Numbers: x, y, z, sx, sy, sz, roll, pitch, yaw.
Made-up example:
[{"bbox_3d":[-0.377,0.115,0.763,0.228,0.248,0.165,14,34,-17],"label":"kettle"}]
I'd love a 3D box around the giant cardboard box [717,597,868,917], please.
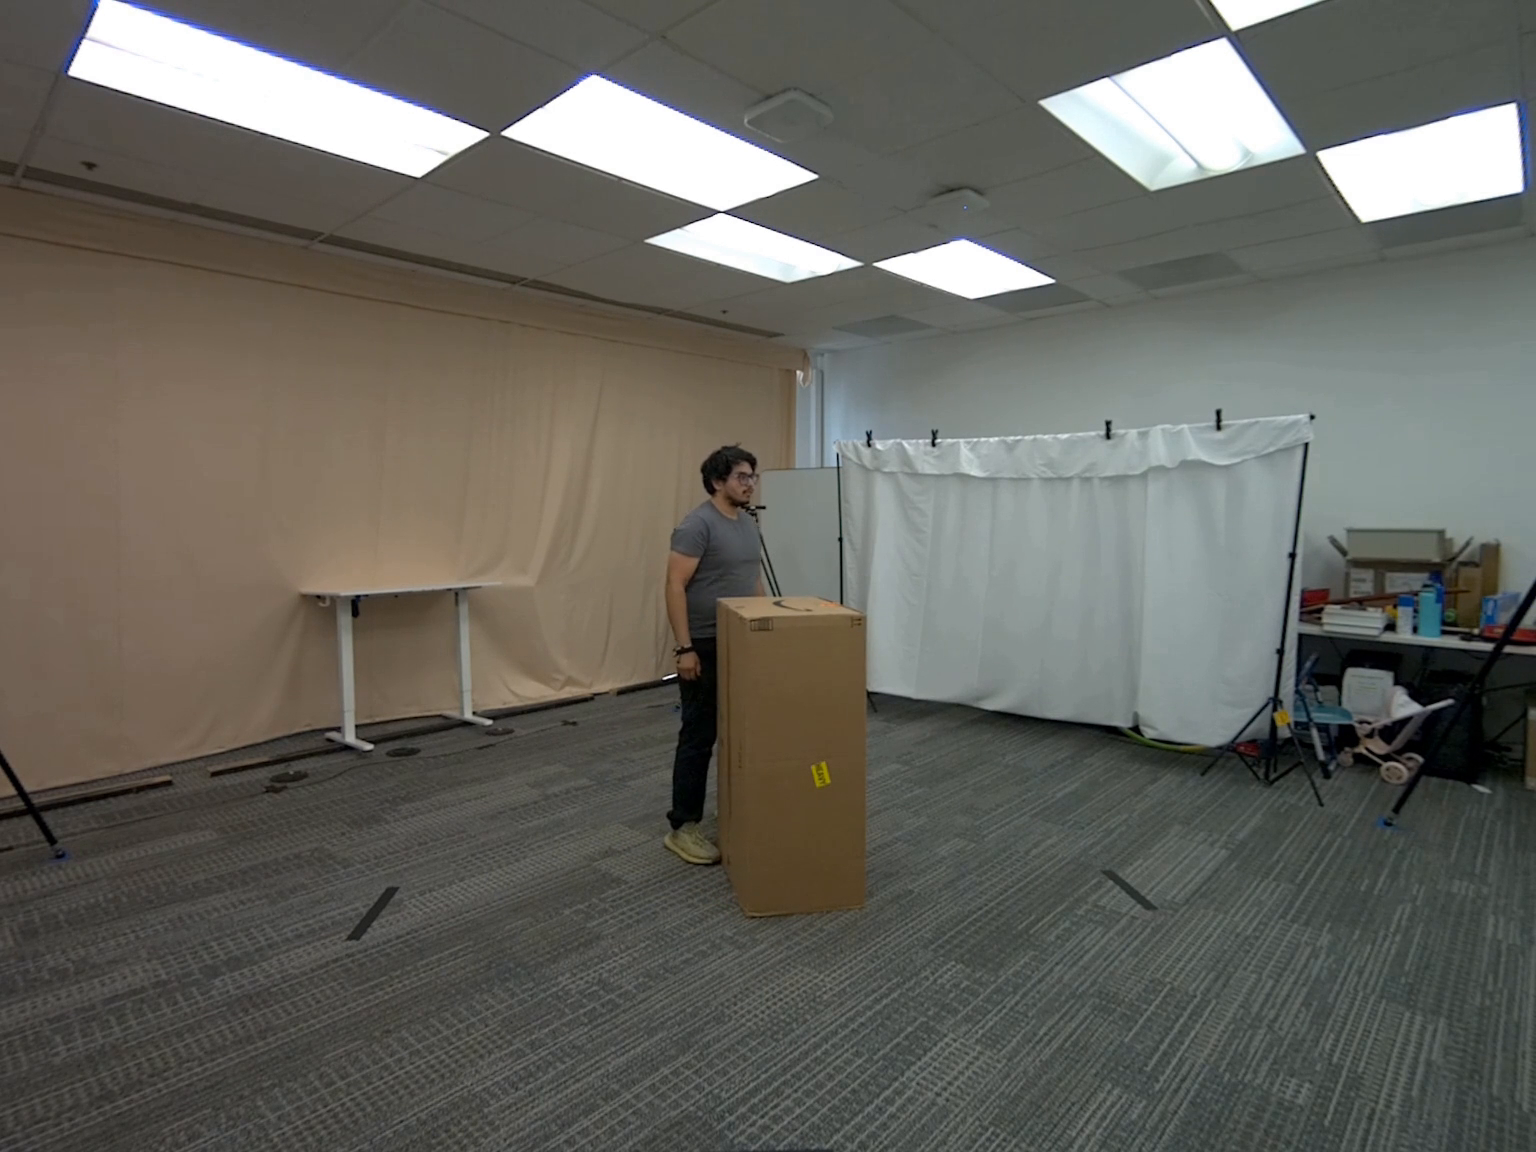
[{"bbox_3d":[0.075,0.621,3.129,0.441,1.025,0.592,-1,3,-13],"label":"giant cardboard box"}]
